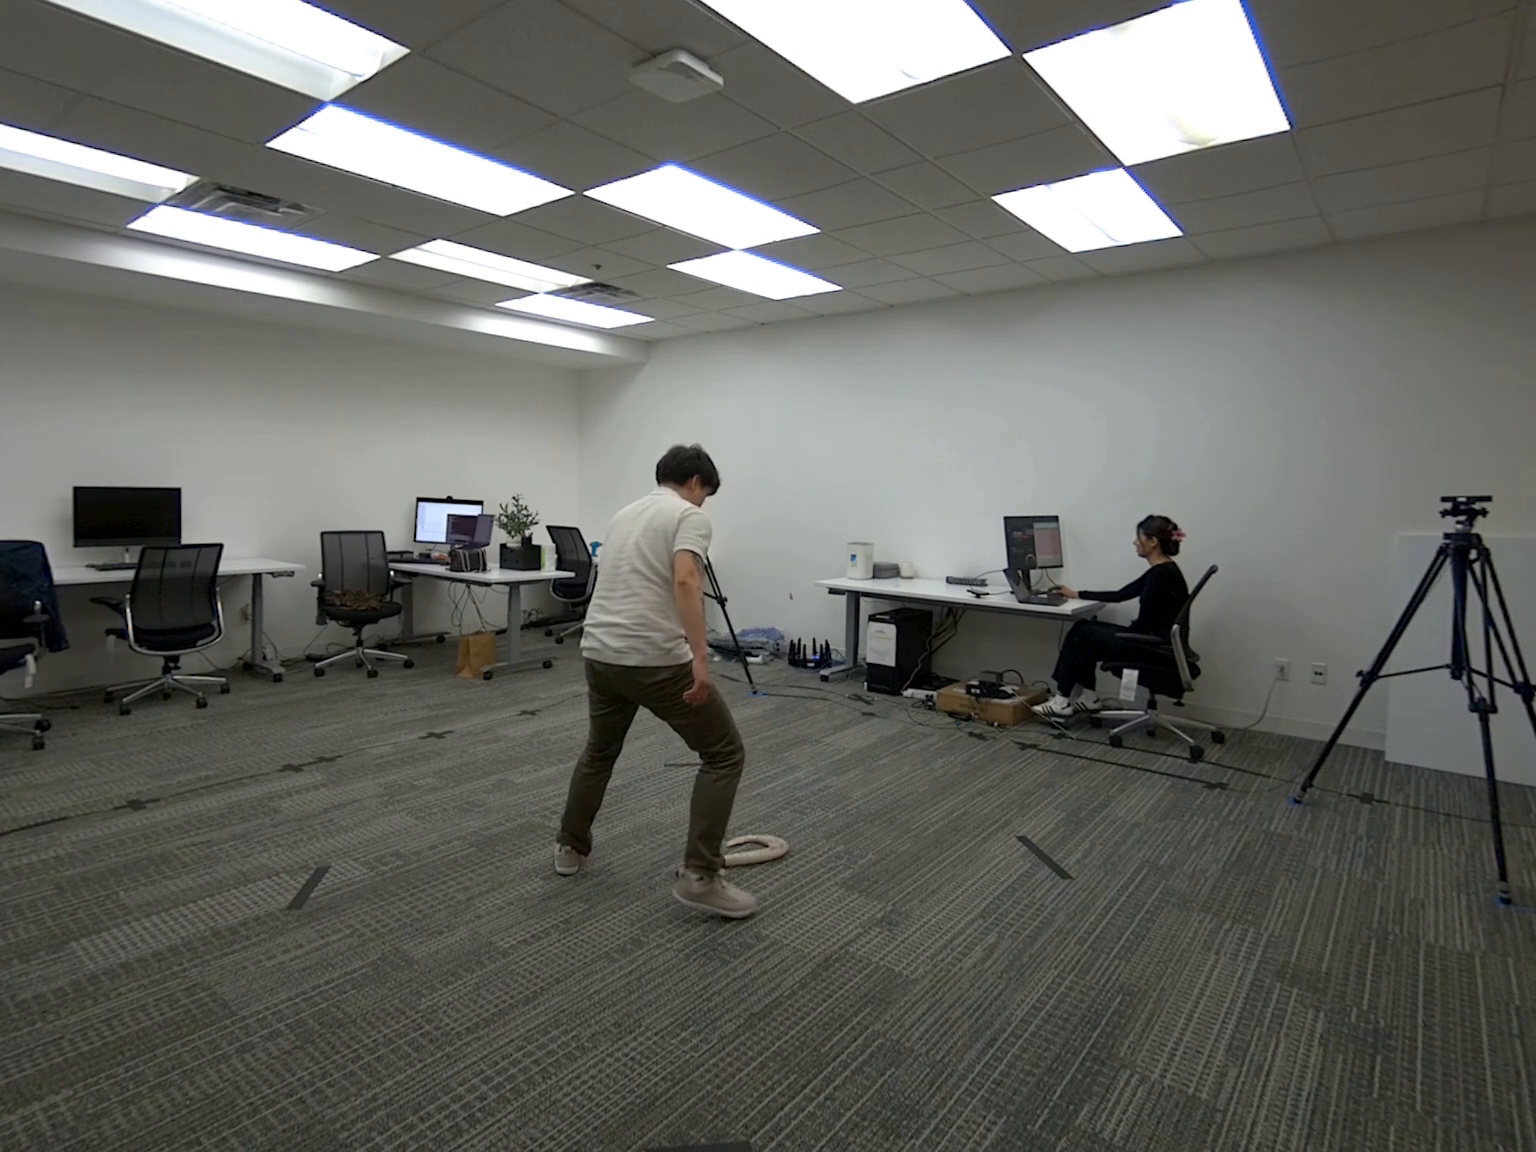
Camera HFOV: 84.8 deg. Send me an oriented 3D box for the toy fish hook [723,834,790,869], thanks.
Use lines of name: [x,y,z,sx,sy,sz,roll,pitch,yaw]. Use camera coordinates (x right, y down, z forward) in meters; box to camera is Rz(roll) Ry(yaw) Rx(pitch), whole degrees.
toy fish hook: [-0.162,1.048,3.180,0.492,0.048,0.231,-2,-1,-36]
